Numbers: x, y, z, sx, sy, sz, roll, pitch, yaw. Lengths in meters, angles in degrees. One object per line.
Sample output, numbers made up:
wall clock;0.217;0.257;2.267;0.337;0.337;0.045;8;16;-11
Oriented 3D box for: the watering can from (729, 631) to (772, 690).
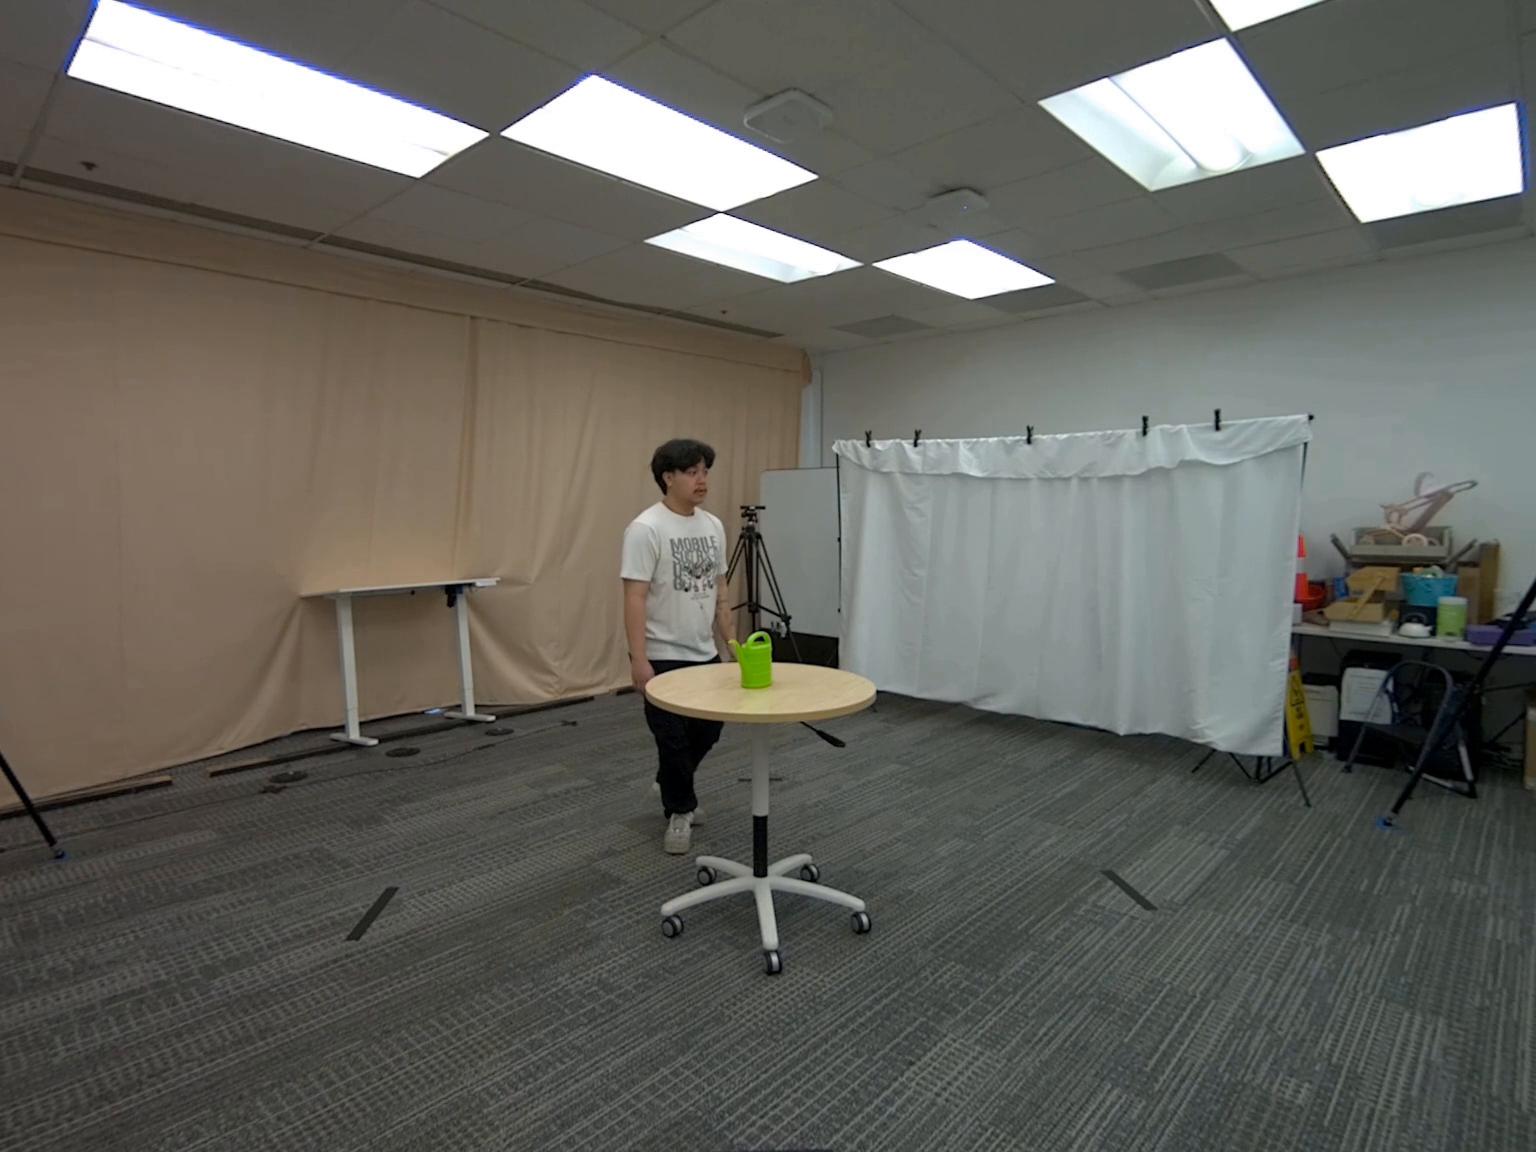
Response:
watering can;-0.058;0.281;2.776;0.101;0.176;0.270;4;5;42
